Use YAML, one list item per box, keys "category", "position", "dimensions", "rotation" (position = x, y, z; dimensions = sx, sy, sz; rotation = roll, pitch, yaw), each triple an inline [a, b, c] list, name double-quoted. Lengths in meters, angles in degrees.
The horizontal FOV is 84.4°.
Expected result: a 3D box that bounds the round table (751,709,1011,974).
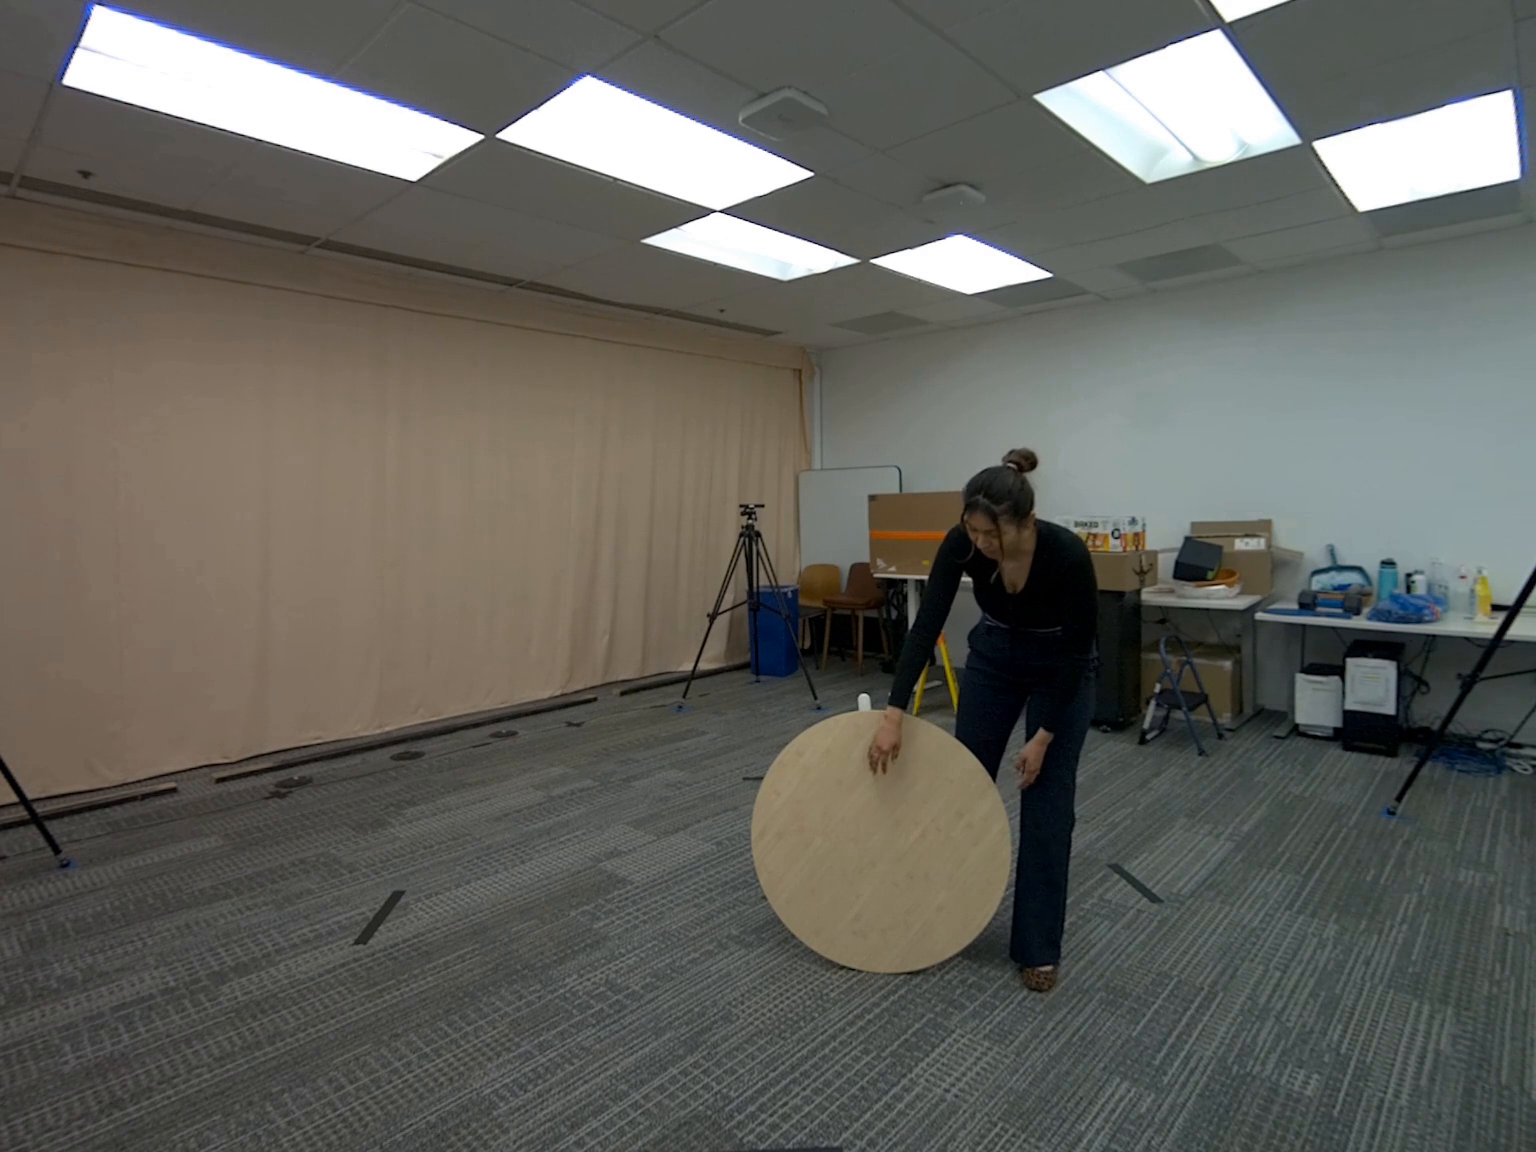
- category: "round table"
  position: [0.369, 0.803, 2.906]
  dimensions: [0.770, 0.765, 0.786]
  rotation: [0, -2, 6]
